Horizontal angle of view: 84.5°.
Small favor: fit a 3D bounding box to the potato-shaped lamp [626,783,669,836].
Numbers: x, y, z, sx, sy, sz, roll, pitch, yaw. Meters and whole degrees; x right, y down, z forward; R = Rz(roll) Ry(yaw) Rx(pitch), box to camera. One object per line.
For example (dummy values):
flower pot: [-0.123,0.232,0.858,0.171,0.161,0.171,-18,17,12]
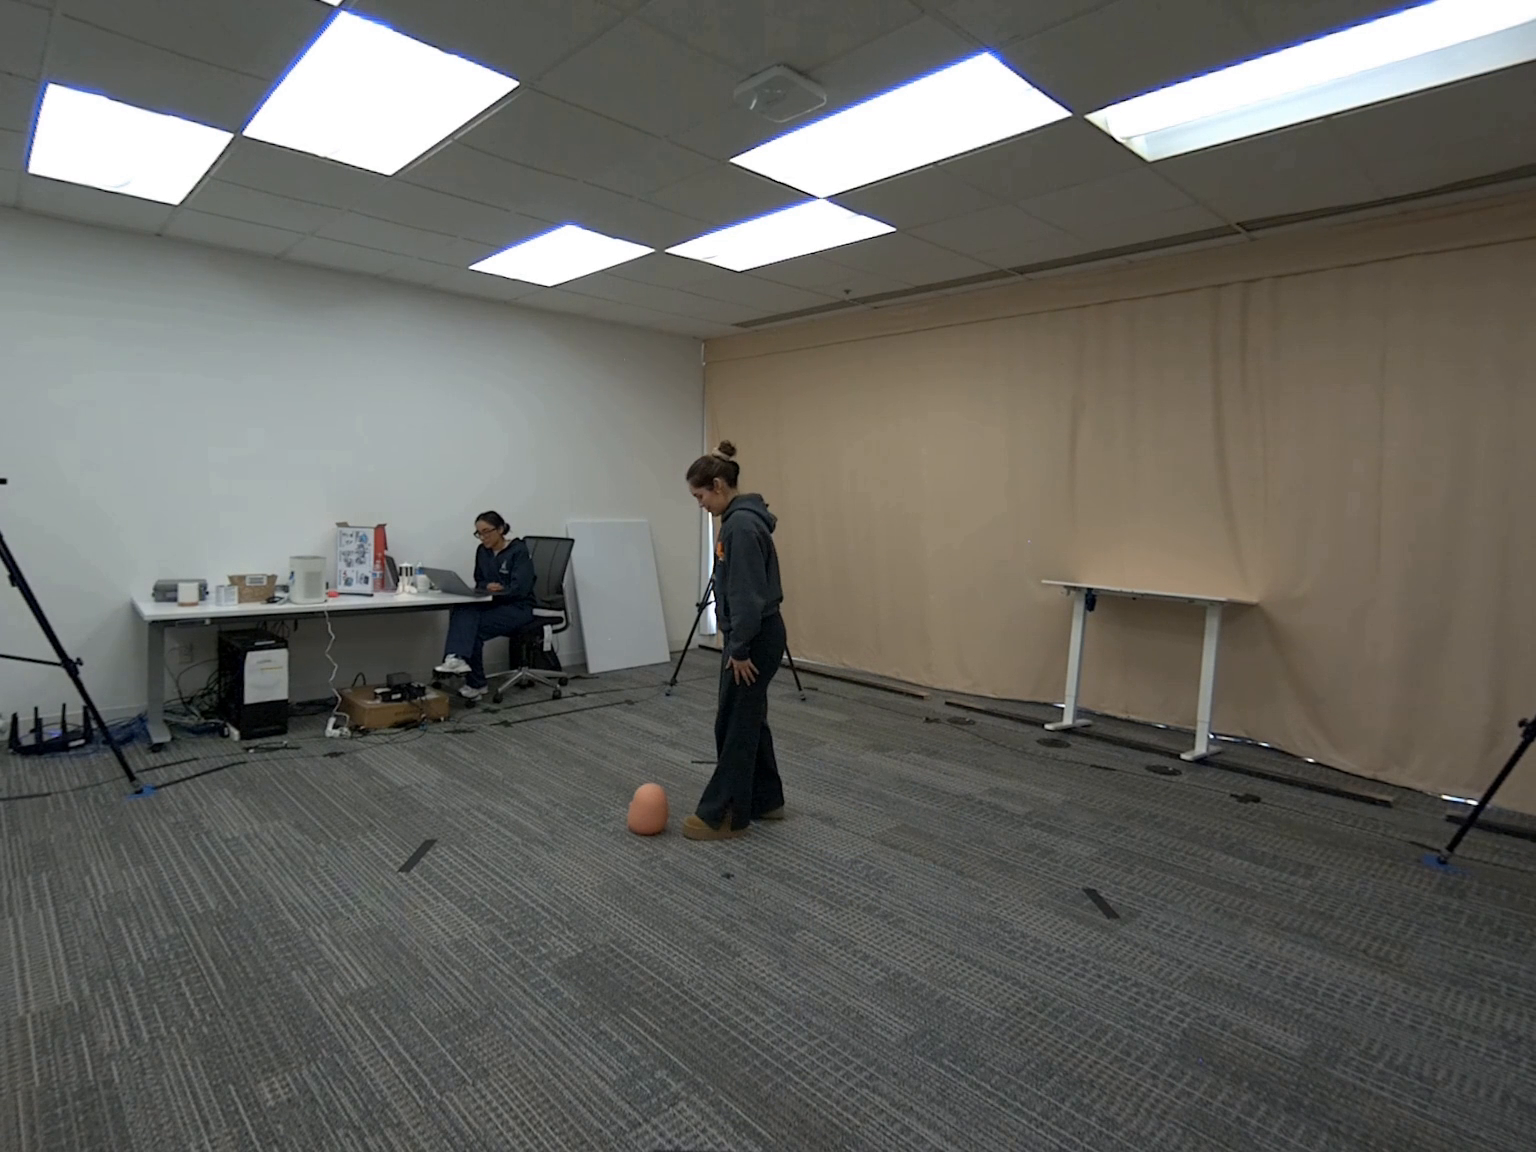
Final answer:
potato-shaped lamp: [-0.504,0.958,3.510,0.161,0.197,0.176,-1,5,-38]
